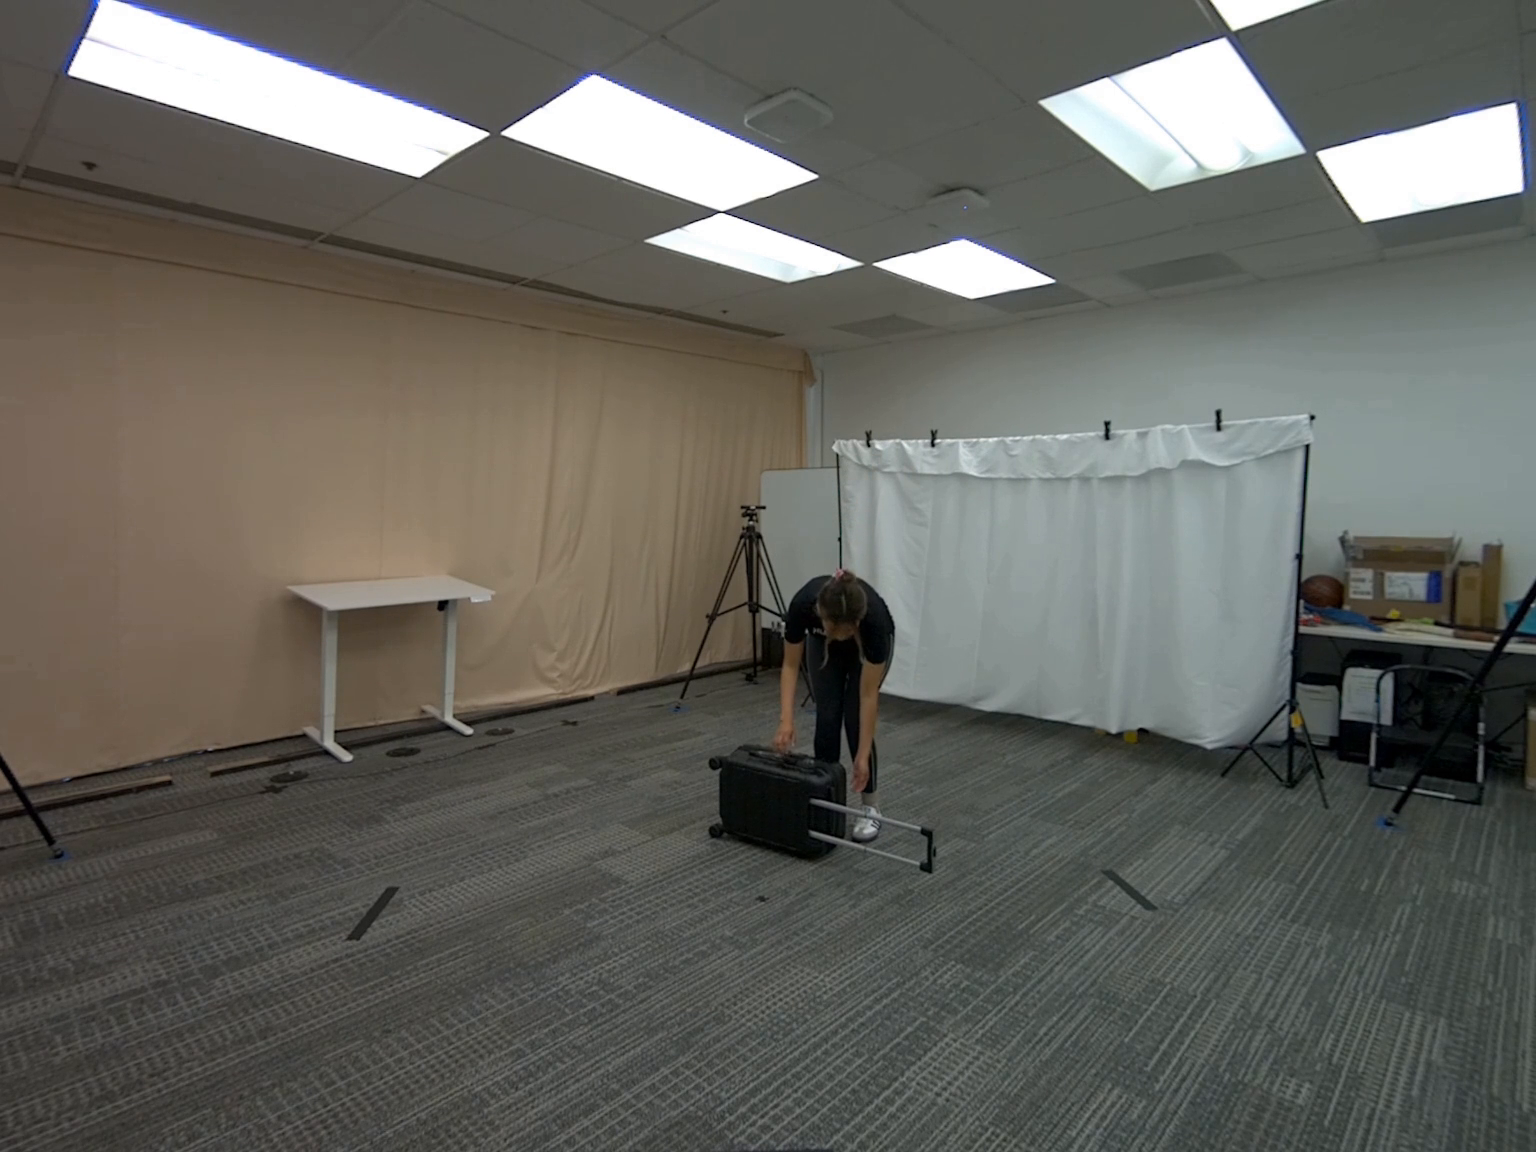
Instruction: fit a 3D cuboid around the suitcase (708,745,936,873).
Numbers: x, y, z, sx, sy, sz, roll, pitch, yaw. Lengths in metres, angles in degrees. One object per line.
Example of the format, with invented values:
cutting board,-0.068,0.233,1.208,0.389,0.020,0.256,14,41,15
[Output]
suitcase,0.219,0.925,3.341,1.009,0.383,0.250,3,4,34
